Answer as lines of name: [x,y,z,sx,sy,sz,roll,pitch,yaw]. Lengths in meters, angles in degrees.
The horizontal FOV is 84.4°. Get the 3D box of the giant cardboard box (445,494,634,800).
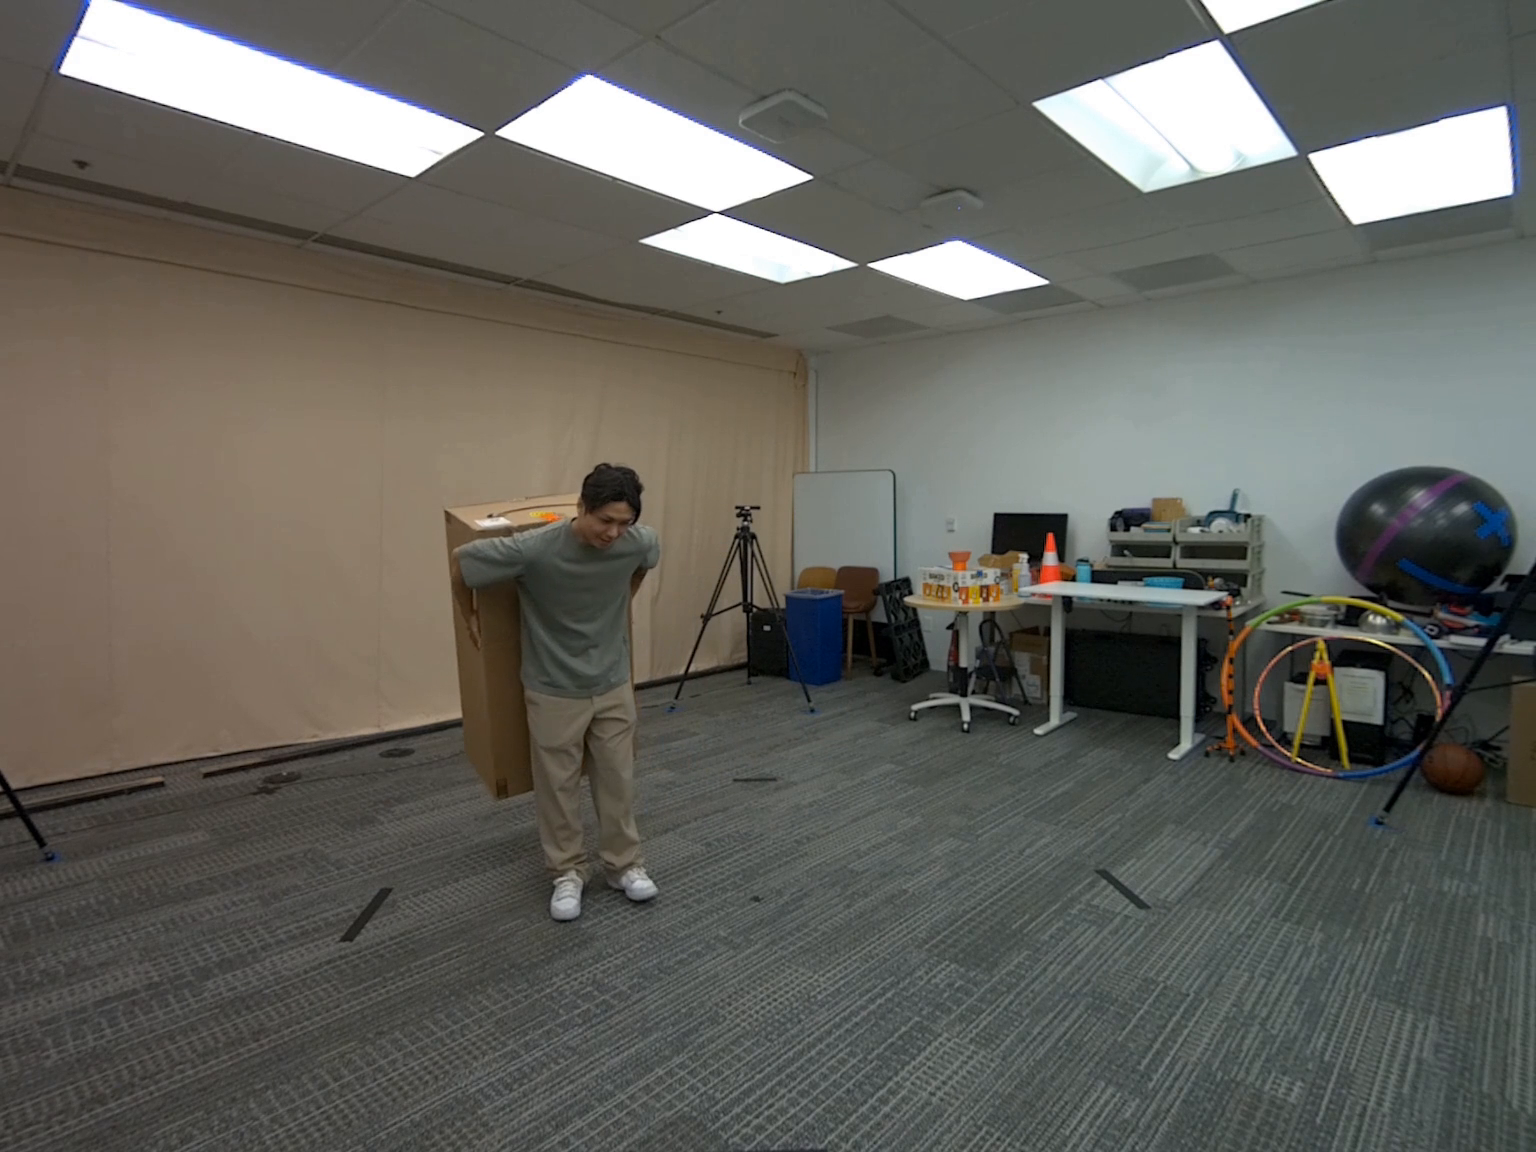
giant cardboard box: [-0.873,0.241,3.252,0.563,1.016,0.441,-9,17,-31]
